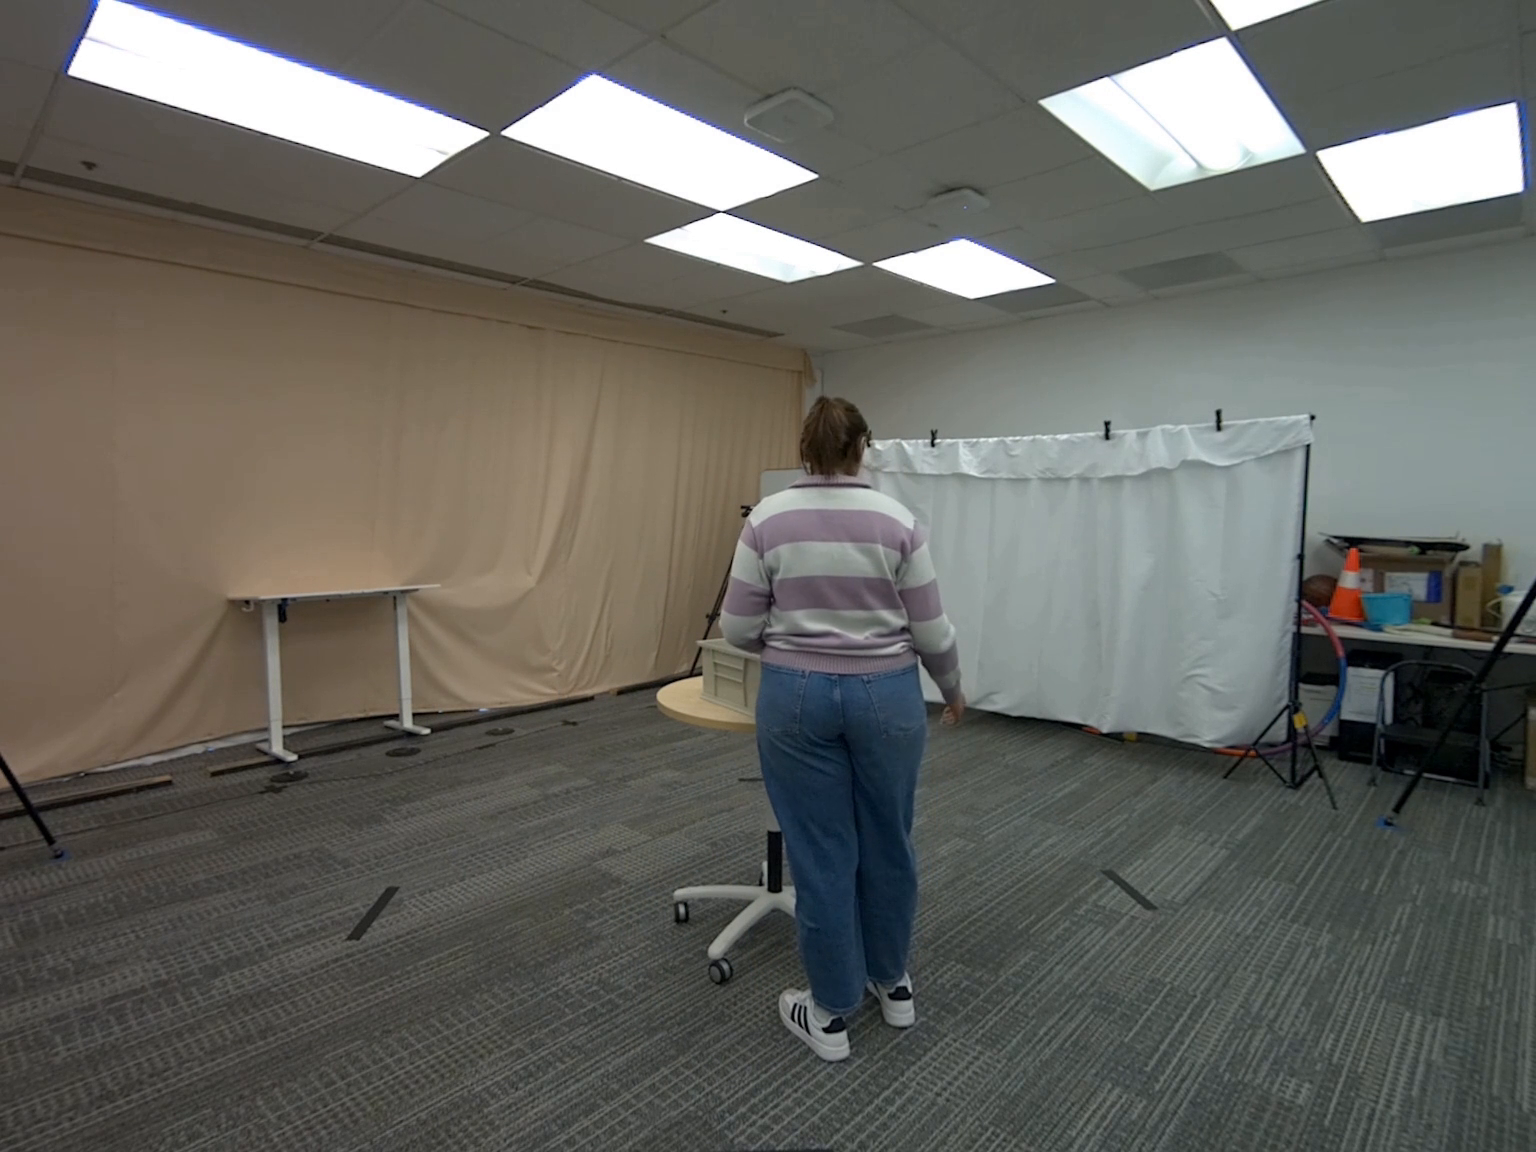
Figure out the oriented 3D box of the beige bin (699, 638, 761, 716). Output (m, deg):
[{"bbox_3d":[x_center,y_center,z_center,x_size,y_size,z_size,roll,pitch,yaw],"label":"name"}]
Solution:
[{"bbox_3d":[0.063,0.300,2.612,0.410,0.188,0.389,-4,4,-33],"label":"beige bin"}]
